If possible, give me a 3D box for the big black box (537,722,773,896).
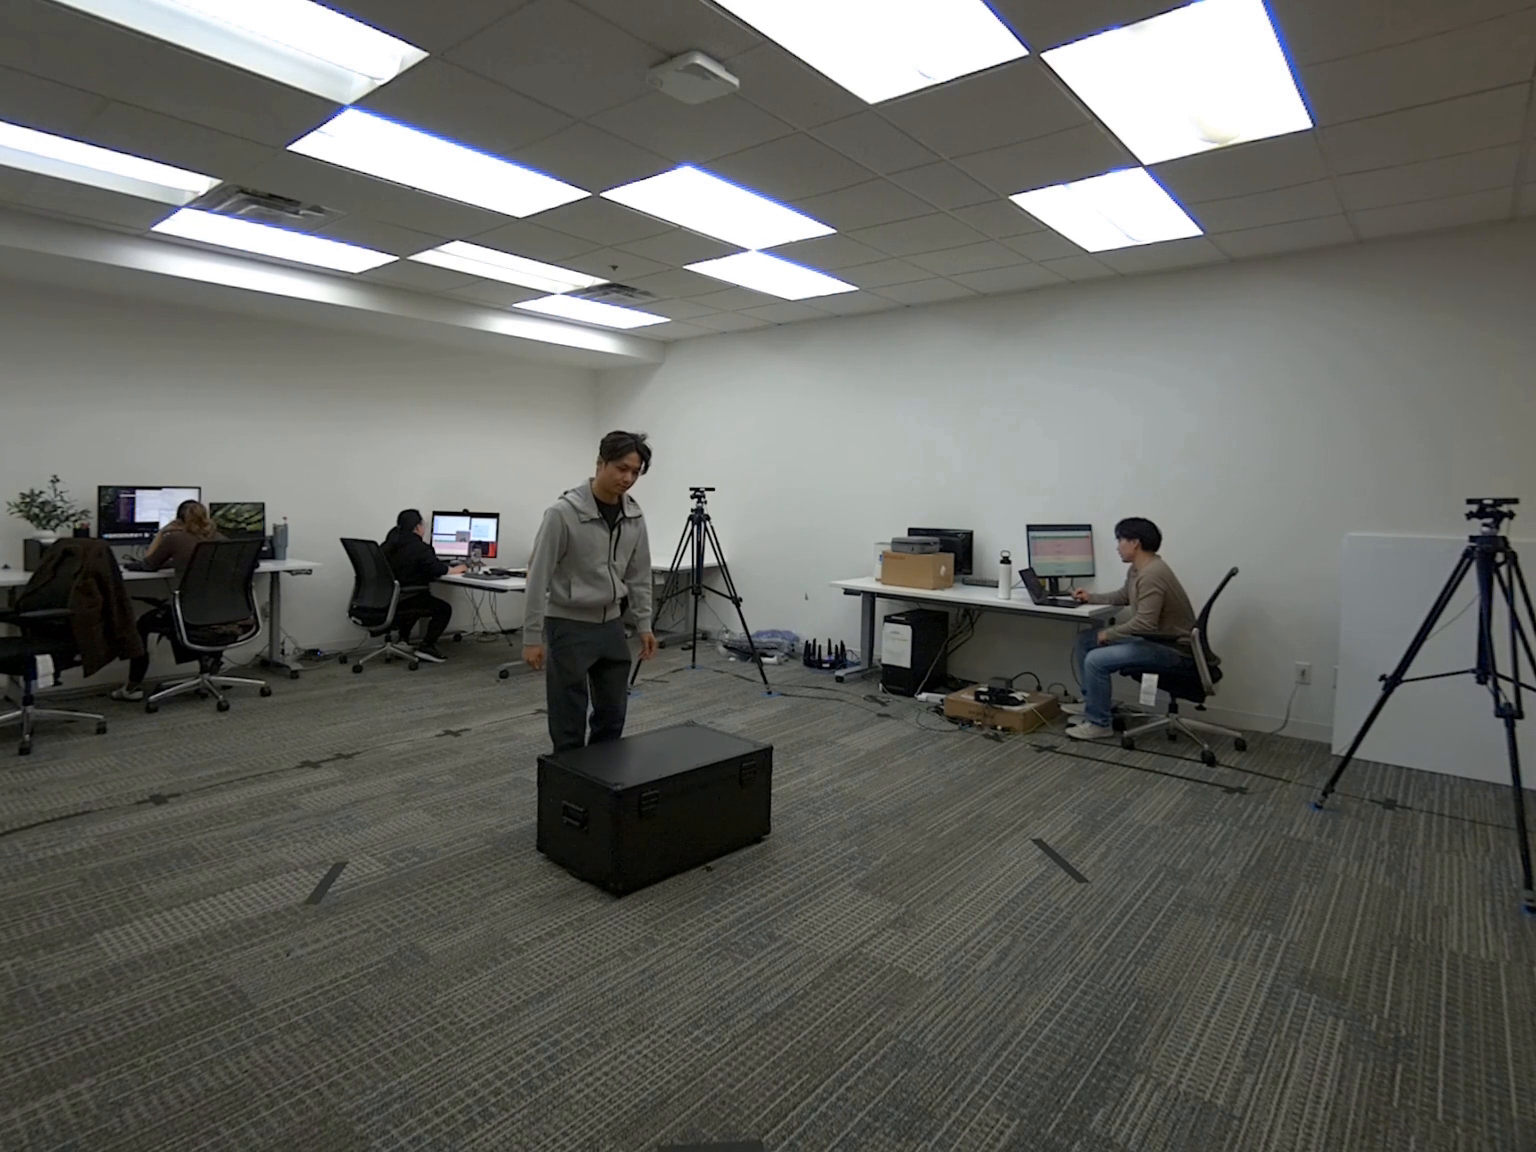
[{"bbox_3d":[-0.407,0.856,3.292,0.539,0.395,0.836,5,7,43],"label":"big black box"}]
